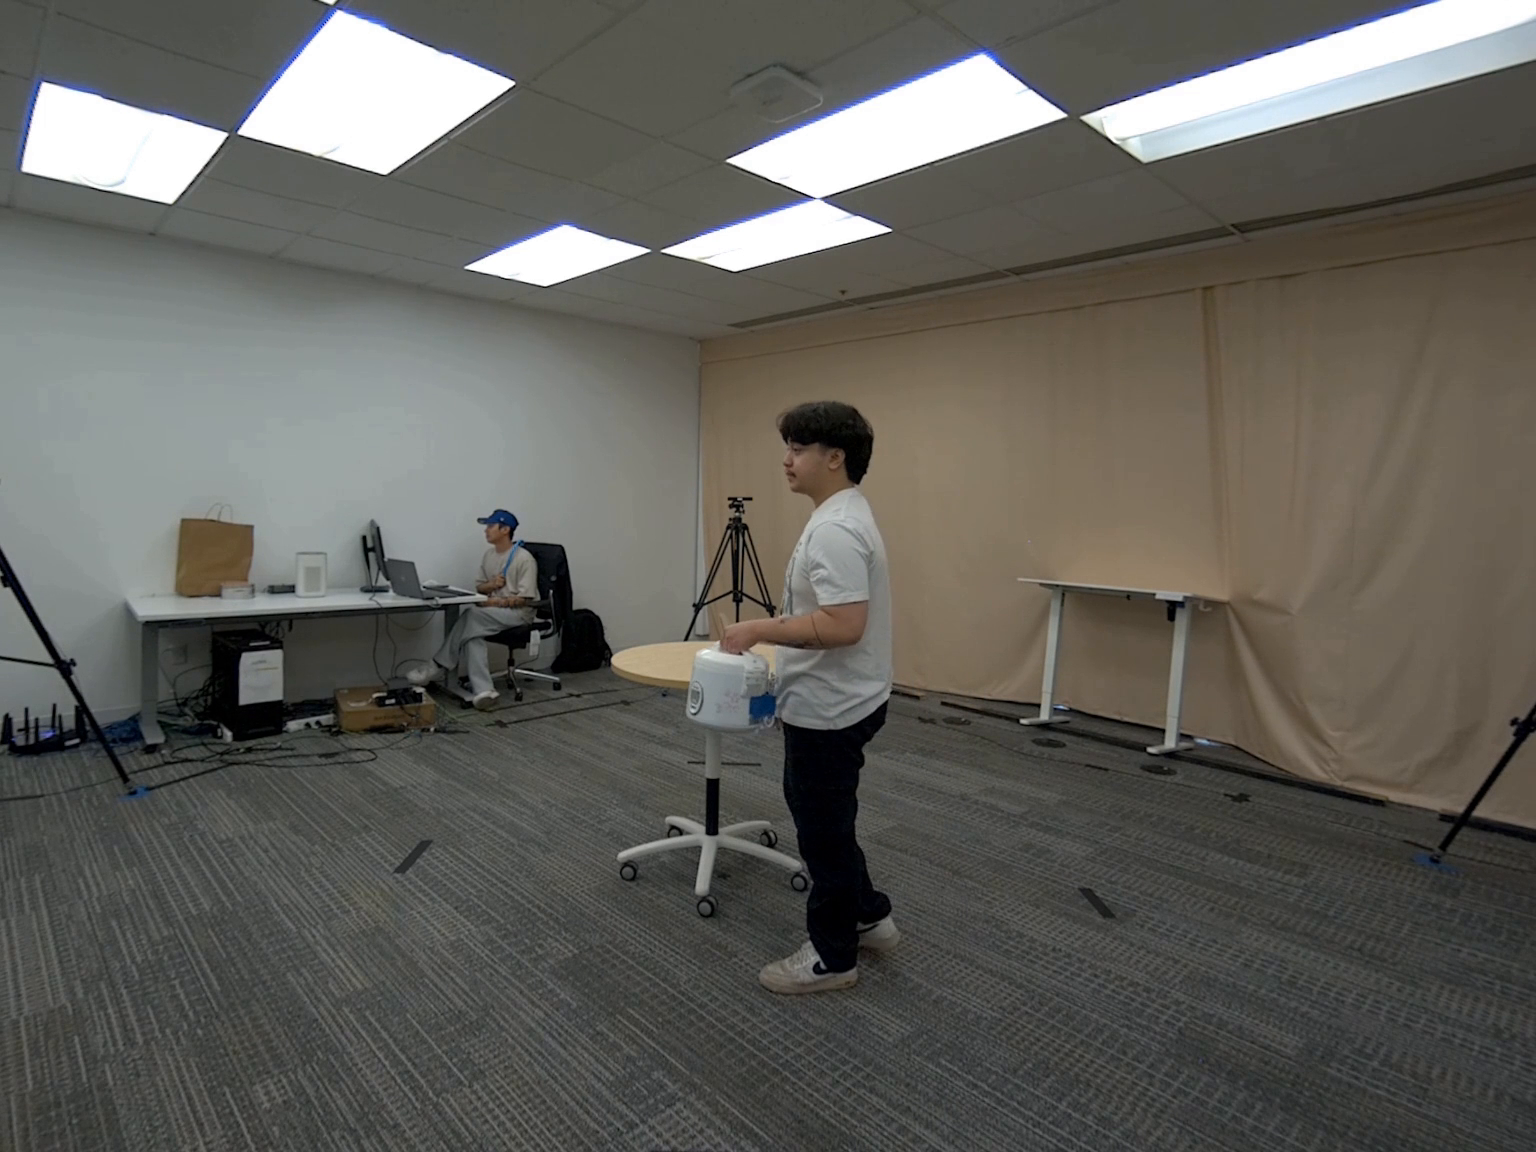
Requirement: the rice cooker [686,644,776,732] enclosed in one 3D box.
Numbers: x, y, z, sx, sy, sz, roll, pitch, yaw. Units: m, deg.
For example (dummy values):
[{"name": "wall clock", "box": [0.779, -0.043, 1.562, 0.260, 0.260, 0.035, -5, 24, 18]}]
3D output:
[{"name": "rice cooker", "box": [-0.108, 0.295, 2.288, 0.212, 0.233, 0.226, 7, 0, -38]}]
